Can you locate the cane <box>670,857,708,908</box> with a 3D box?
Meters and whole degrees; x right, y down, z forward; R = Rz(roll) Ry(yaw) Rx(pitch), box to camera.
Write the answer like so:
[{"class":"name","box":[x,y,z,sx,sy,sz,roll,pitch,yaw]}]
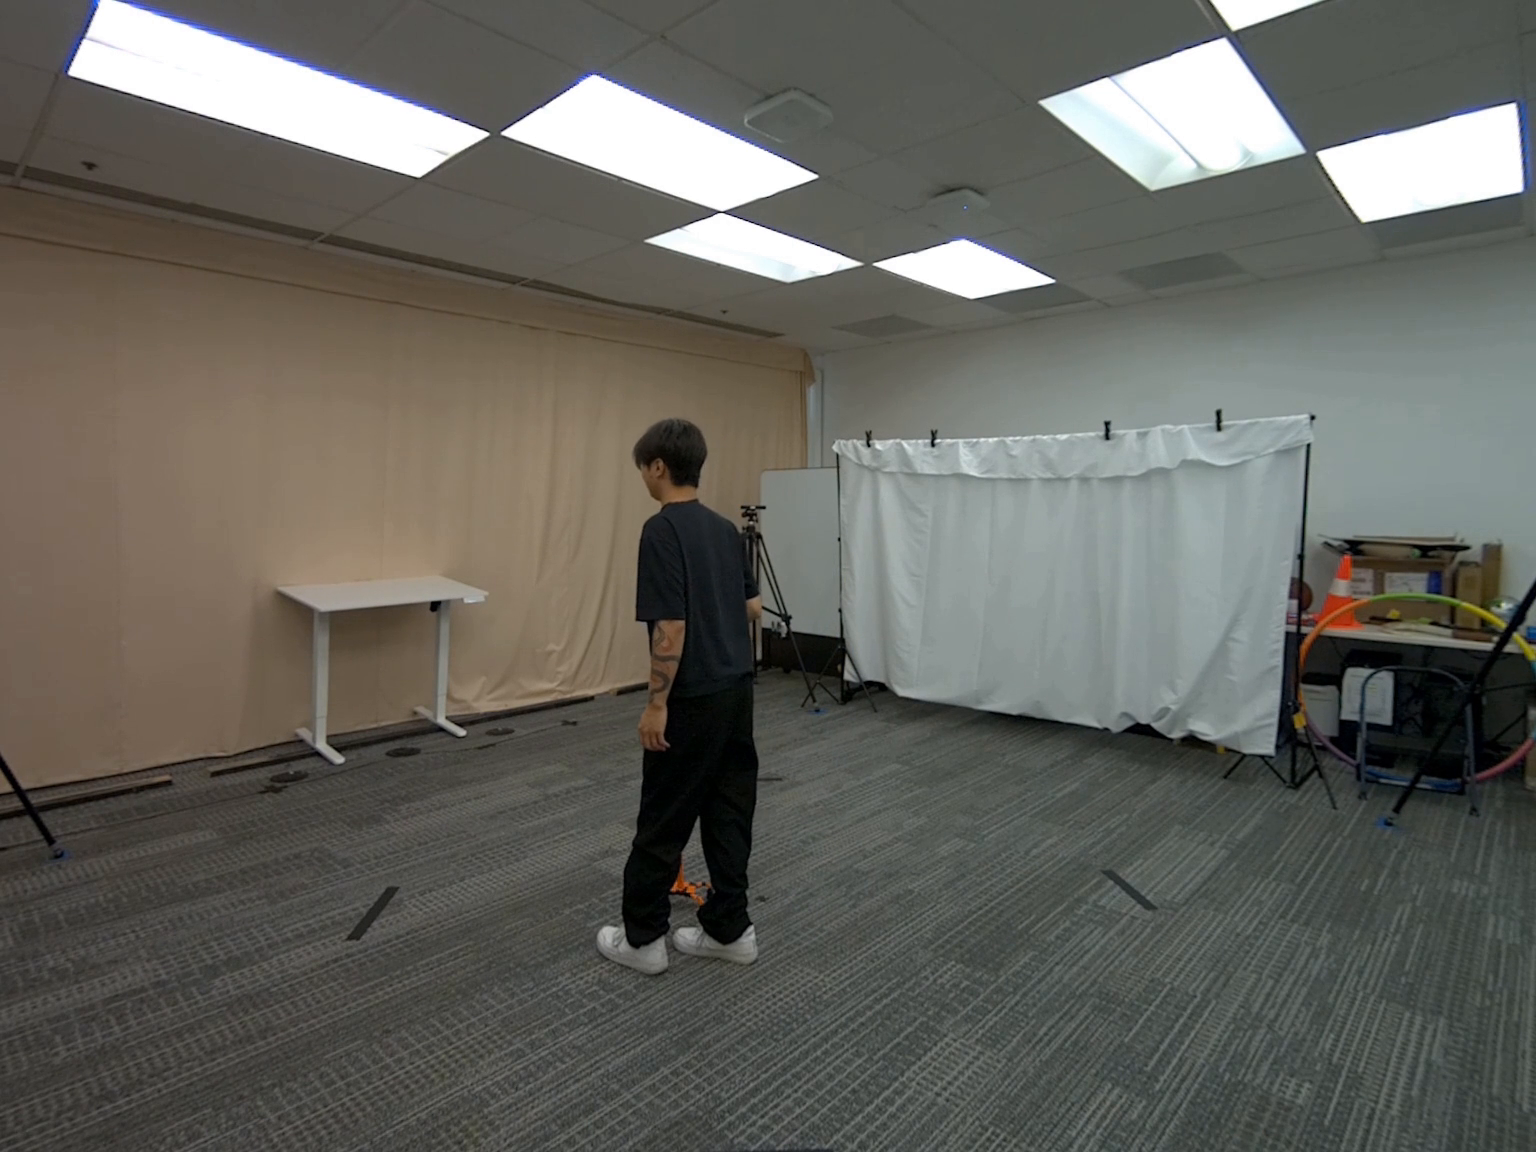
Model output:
[{"class":"cane","box":[-0.311,0.700,2.924,0.209,0.906,0.150,-2,3,10]}]
